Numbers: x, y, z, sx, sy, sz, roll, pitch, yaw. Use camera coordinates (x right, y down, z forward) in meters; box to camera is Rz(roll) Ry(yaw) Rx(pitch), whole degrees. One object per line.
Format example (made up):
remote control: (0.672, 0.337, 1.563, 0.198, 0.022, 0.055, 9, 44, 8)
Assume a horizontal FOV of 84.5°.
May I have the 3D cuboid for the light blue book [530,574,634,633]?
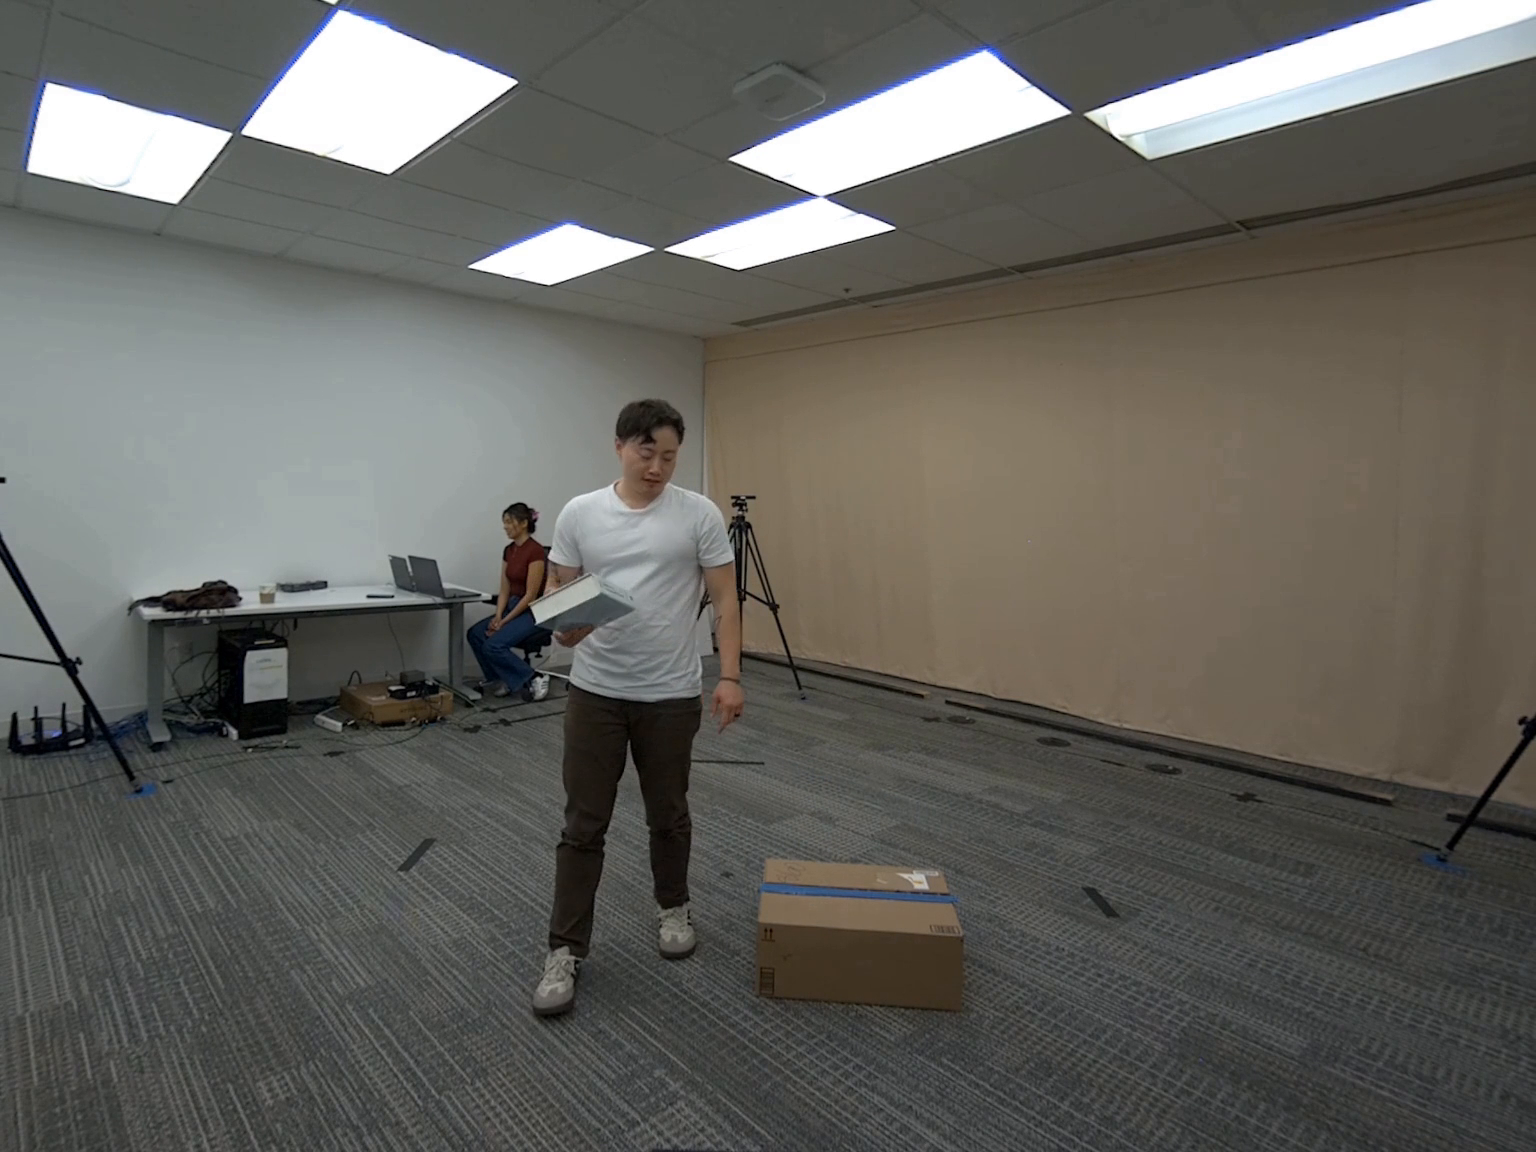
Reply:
light blue book: (-0.478, 0.081, 2.189, 0.192, 0.060, 0.256, -25, -15, 6)
